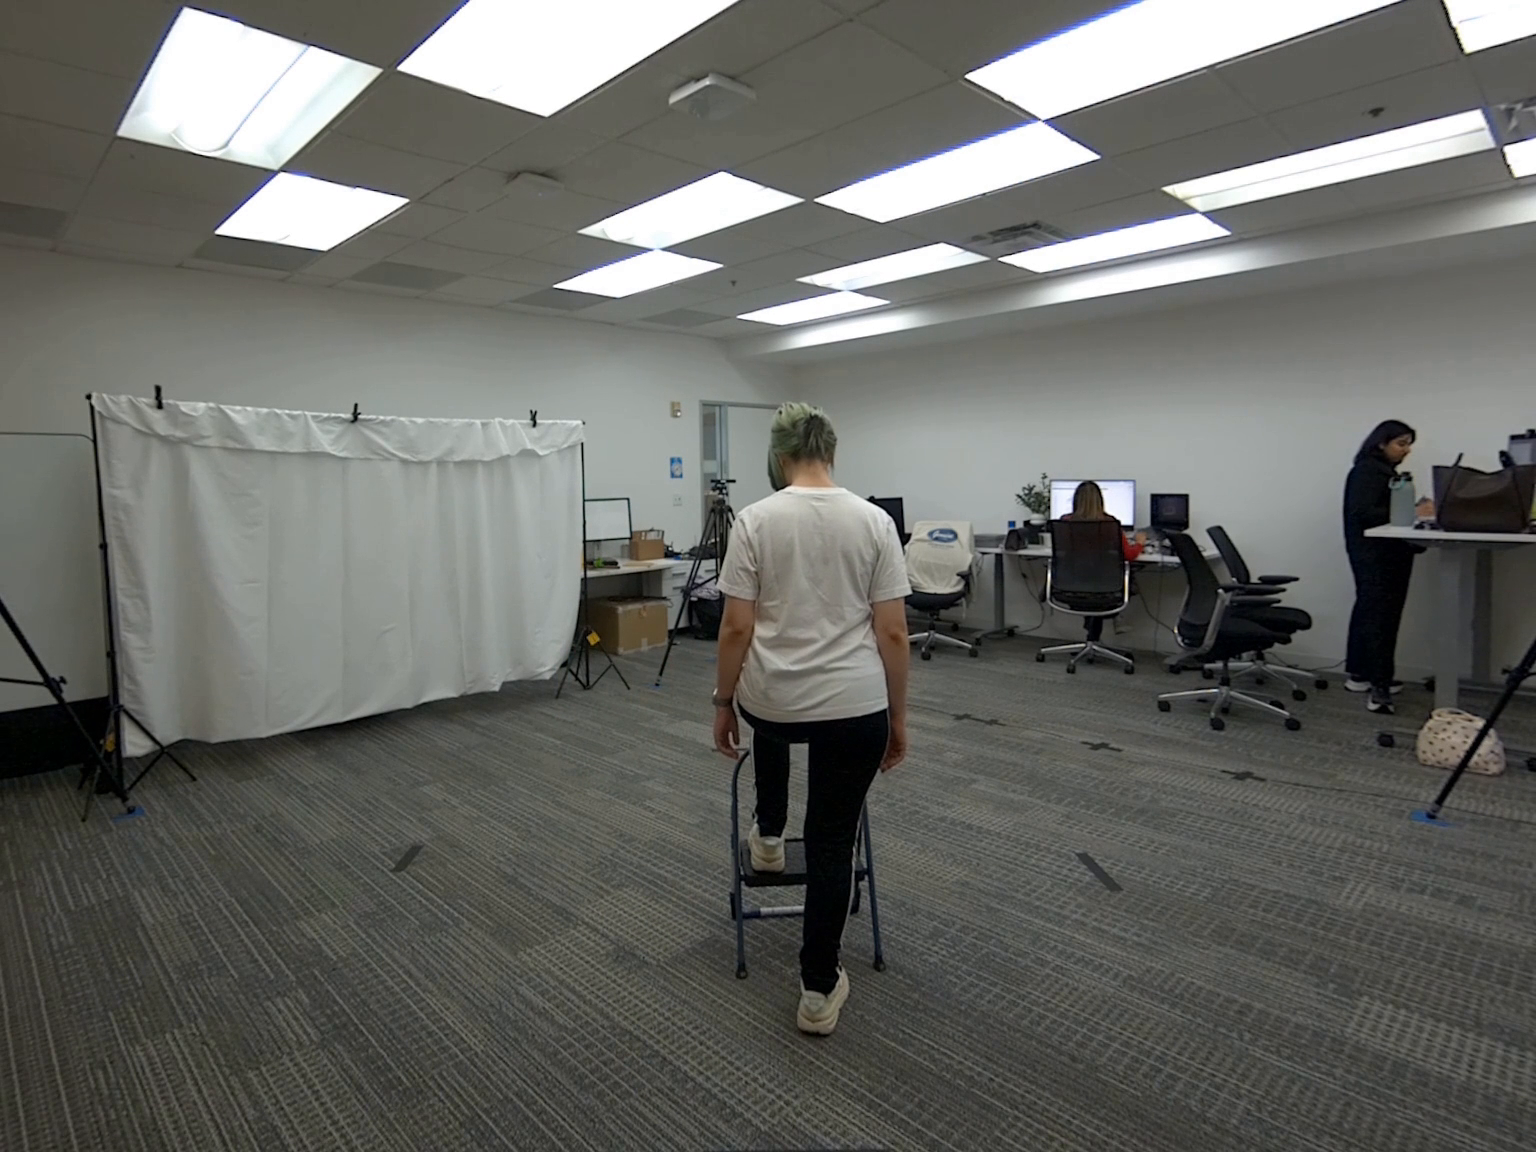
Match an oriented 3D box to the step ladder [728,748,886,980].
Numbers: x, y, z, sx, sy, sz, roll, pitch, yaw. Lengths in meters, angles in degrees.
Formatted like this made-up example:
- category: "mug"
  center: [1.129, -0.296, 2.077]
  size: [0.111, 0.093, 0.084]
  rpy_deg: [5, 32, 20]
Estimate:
- category: "step ladder"
  center: [0.107, 0.812, 2.564]
  size: [0.429, 0.604, 0.352]
  rpy_deg: [-1, 4, -5]
